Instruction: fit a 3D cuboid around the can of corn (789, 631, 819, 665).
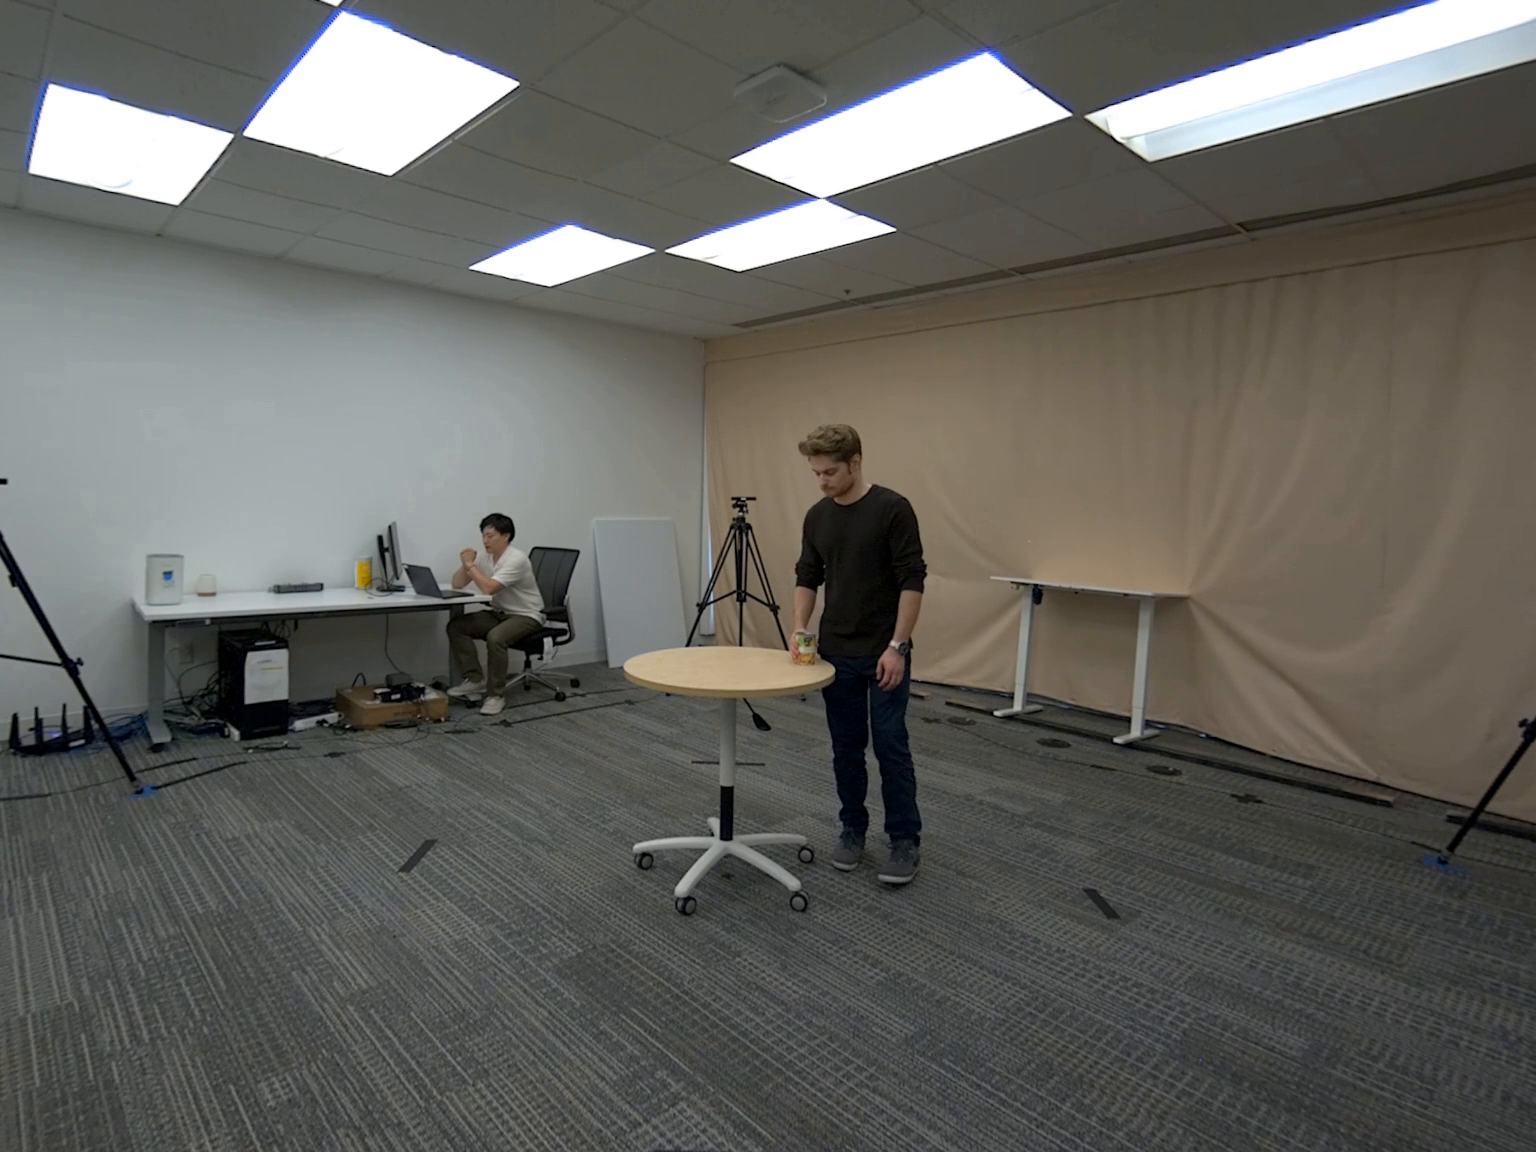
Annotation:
[{"bbox_3d":[0.121,0.268,3.125,0.074,0.111,0.074,0,1,-1],"label":"can of corn"}]
